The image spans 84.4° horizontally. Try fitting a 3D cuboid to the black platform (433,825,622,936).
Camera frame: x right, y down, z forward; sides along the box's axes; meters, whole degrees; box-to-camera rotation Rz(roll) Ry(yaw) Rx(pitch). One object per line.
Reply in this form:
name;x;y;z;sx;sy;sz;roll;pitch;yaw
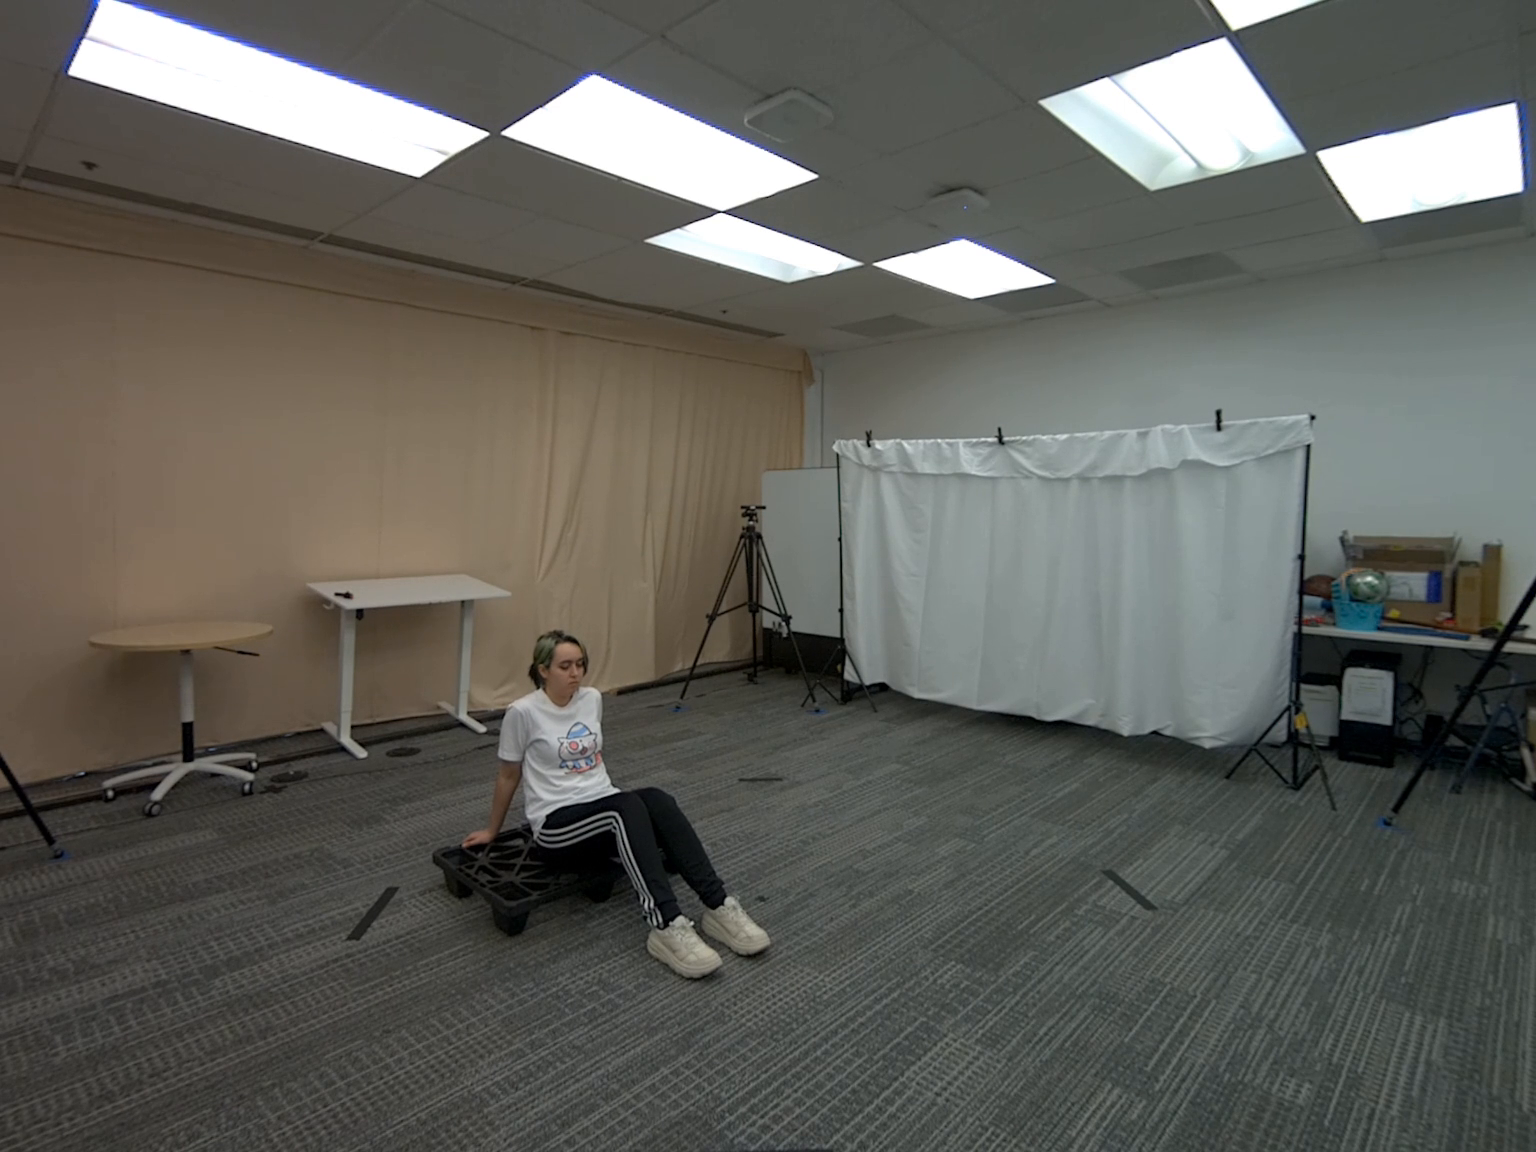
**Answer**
black platform;-0.744;1.069;3.145;0.781;0.143;0.625;-6;7;-43
